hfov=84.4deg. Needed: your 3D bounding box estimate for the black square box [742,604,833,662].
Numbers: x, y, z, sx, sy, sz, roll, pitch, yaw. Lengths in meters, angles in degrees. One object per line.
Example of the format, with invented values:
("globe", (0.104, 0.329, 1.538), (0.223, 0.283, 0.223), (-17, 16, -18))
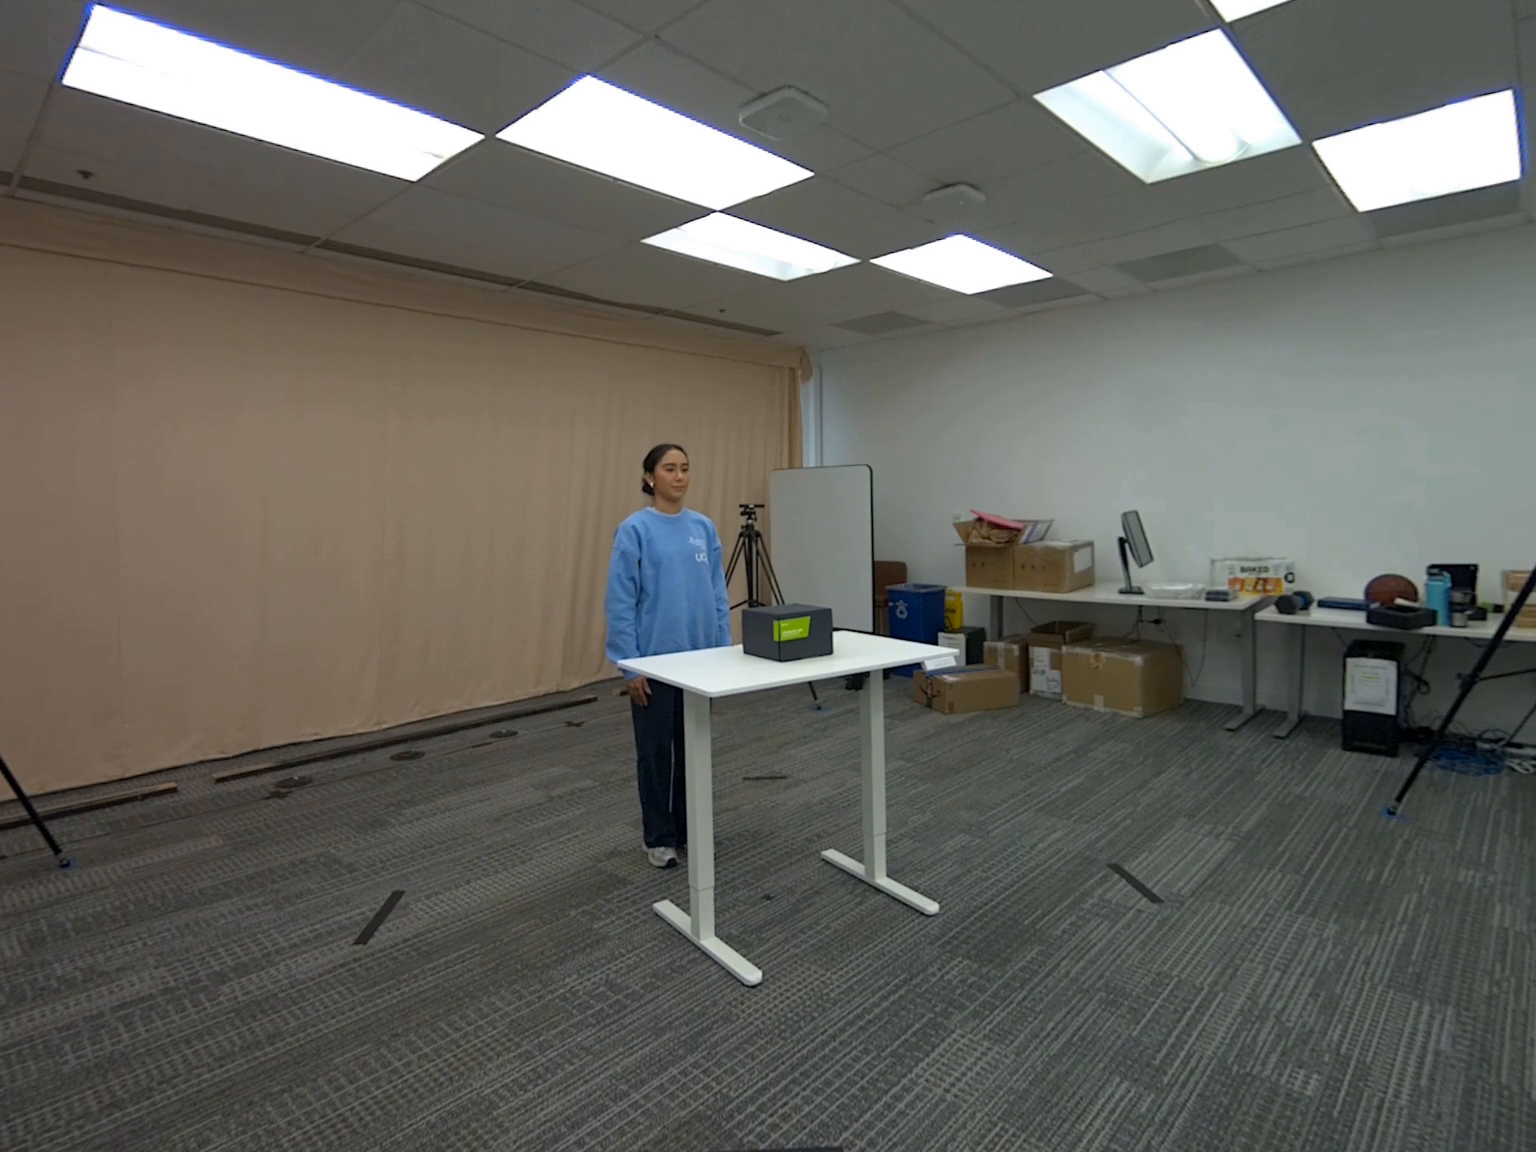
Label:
("black square box", (0.065, 0.188, 2.866), (0.221, 0.155, 0.224), (-5, 5, -34))
